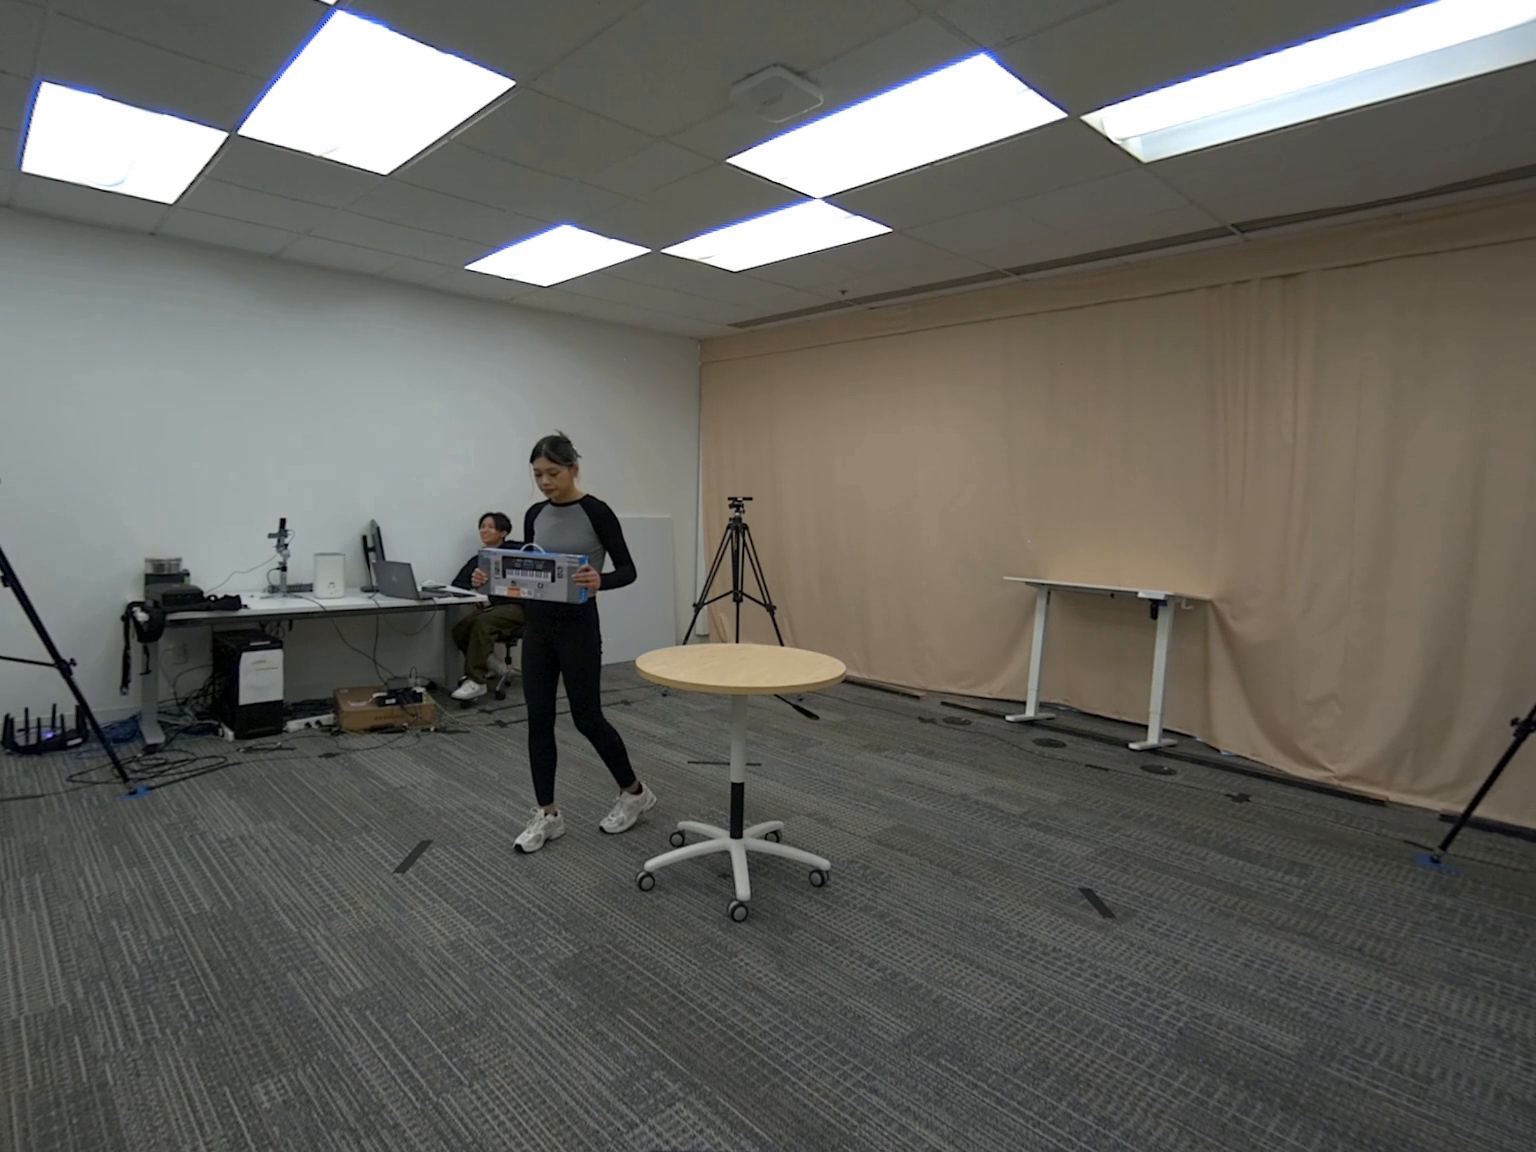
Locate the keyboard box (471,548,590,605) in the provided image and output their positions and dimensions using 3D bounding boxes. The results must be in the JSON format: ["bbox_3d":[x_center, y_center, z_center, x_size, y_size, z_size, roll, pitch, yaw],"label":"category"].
[{"bbox_3d":[-0.903,0.001,3.150,0.444,0.175,0.058,6,7,19],"label":"keyboard box"}]
